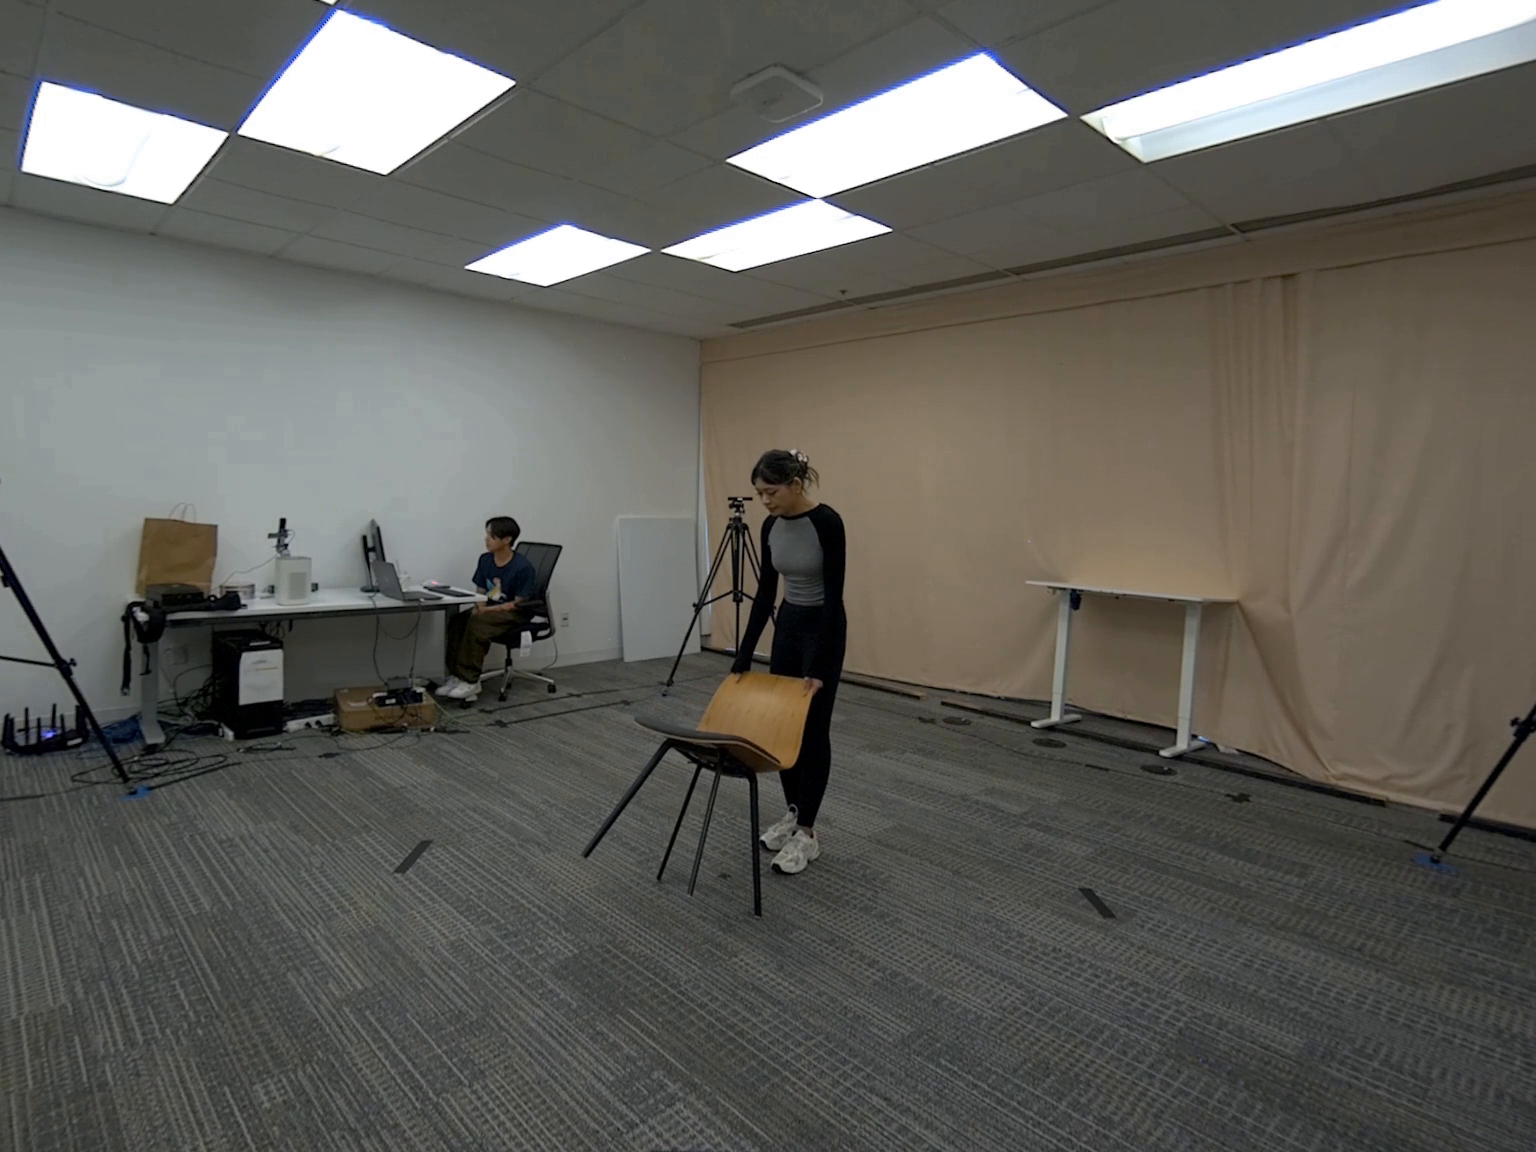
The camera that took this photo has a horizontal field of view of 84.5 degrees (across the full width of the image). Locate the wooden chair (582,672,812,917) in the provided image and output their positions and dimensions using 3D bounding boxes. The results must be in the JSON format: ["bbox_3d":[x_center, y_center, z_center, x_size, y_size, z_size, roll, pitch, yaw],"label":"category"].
[{"bbox_3d":[-0.200,0.639,2.899,0.489,0.885,0.506,3,-30,35],"label":"wooden chair"}]
